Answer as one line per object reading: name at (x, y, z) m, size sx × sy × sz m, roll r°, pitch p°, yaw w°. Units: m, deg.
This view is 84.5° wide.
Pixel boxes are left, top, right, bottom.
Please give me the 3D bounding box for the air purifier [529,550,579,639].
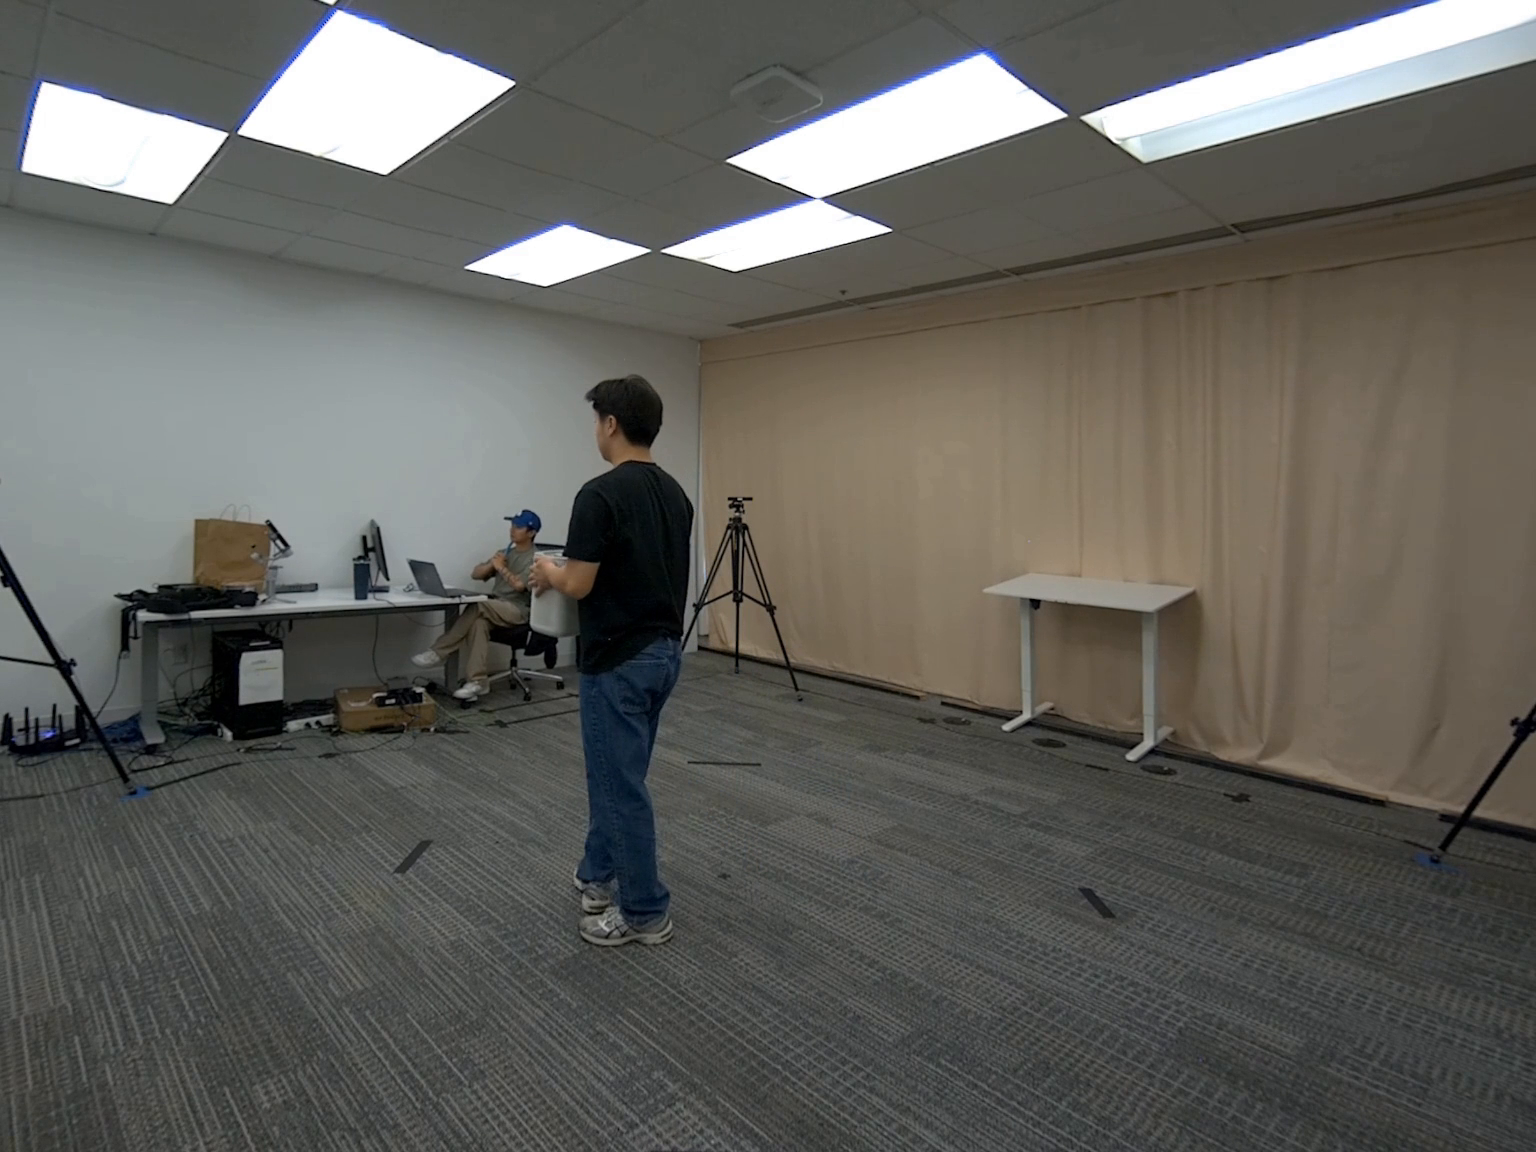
air purifier at (-0.688, 0.060, 2.801) m, size 0.176 × 0.264 × 0.168 m, roll 12°, pitch 11°, yaw 32°
